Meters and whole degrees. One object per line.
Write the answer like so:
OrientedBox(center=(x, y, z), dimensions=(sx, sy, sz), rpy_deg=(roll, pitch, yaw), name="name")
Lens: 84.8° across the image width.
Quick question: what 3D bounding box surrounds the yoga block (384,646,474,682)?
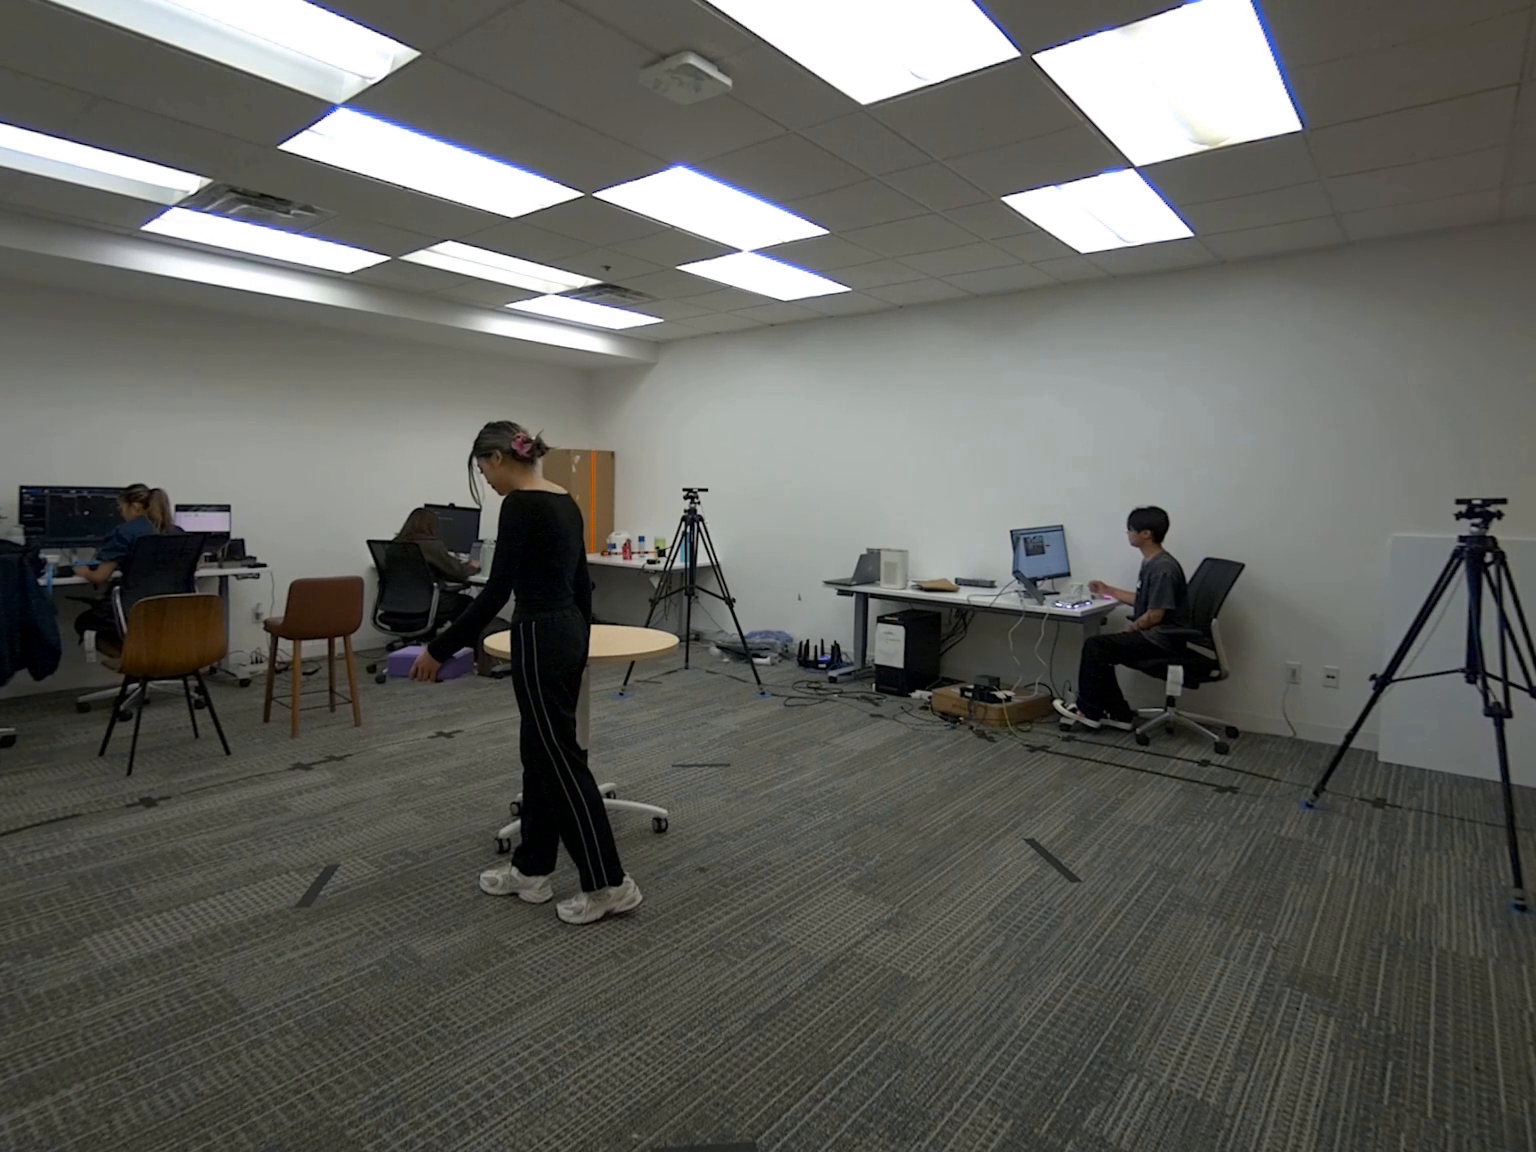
OrientedBox(center=(-1.096, 0.280, 2.725), dimensions=(0.232, 0.076, 0.148), rpy_deg=(1, 7, 10), name="yoga block")
